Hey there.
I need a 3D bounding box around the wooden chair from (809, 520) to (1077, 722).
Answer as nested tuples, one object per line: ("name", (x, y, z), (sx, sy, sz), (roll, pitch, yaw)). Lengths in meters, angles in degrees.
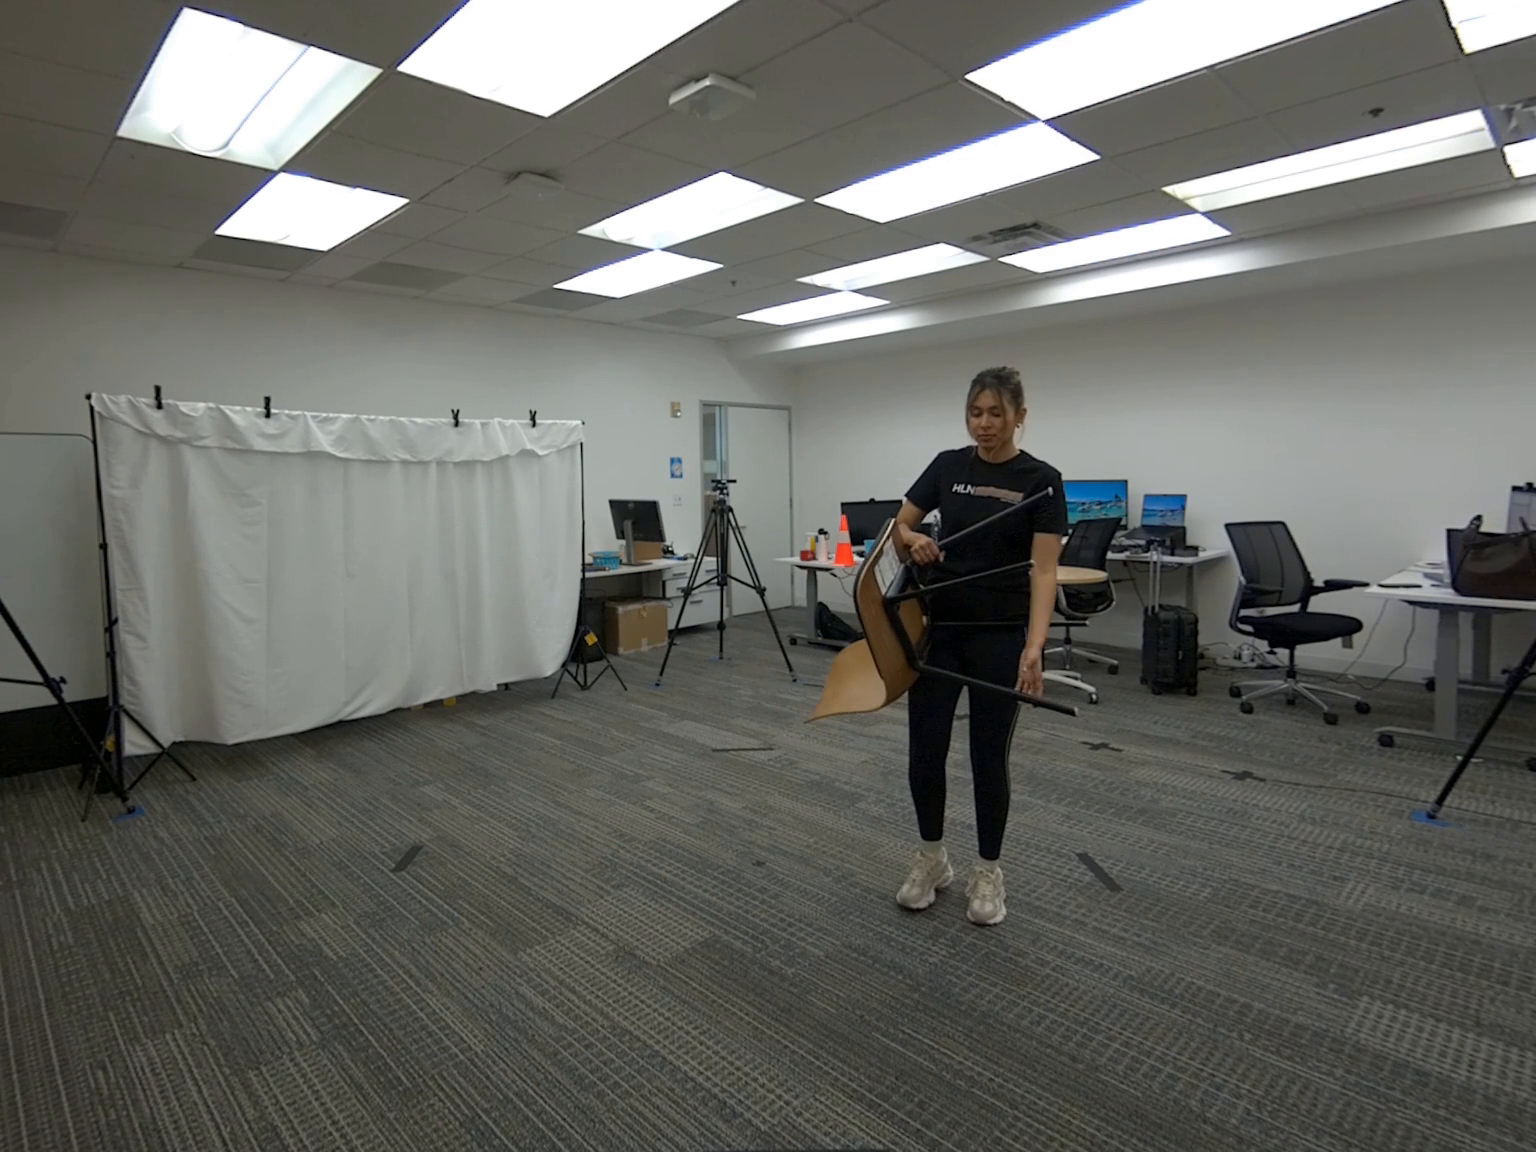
("wooden chair", (0.432, 0.117, 2.529), (0.894, 0.513, 0.479), (-15, 21, 32))
